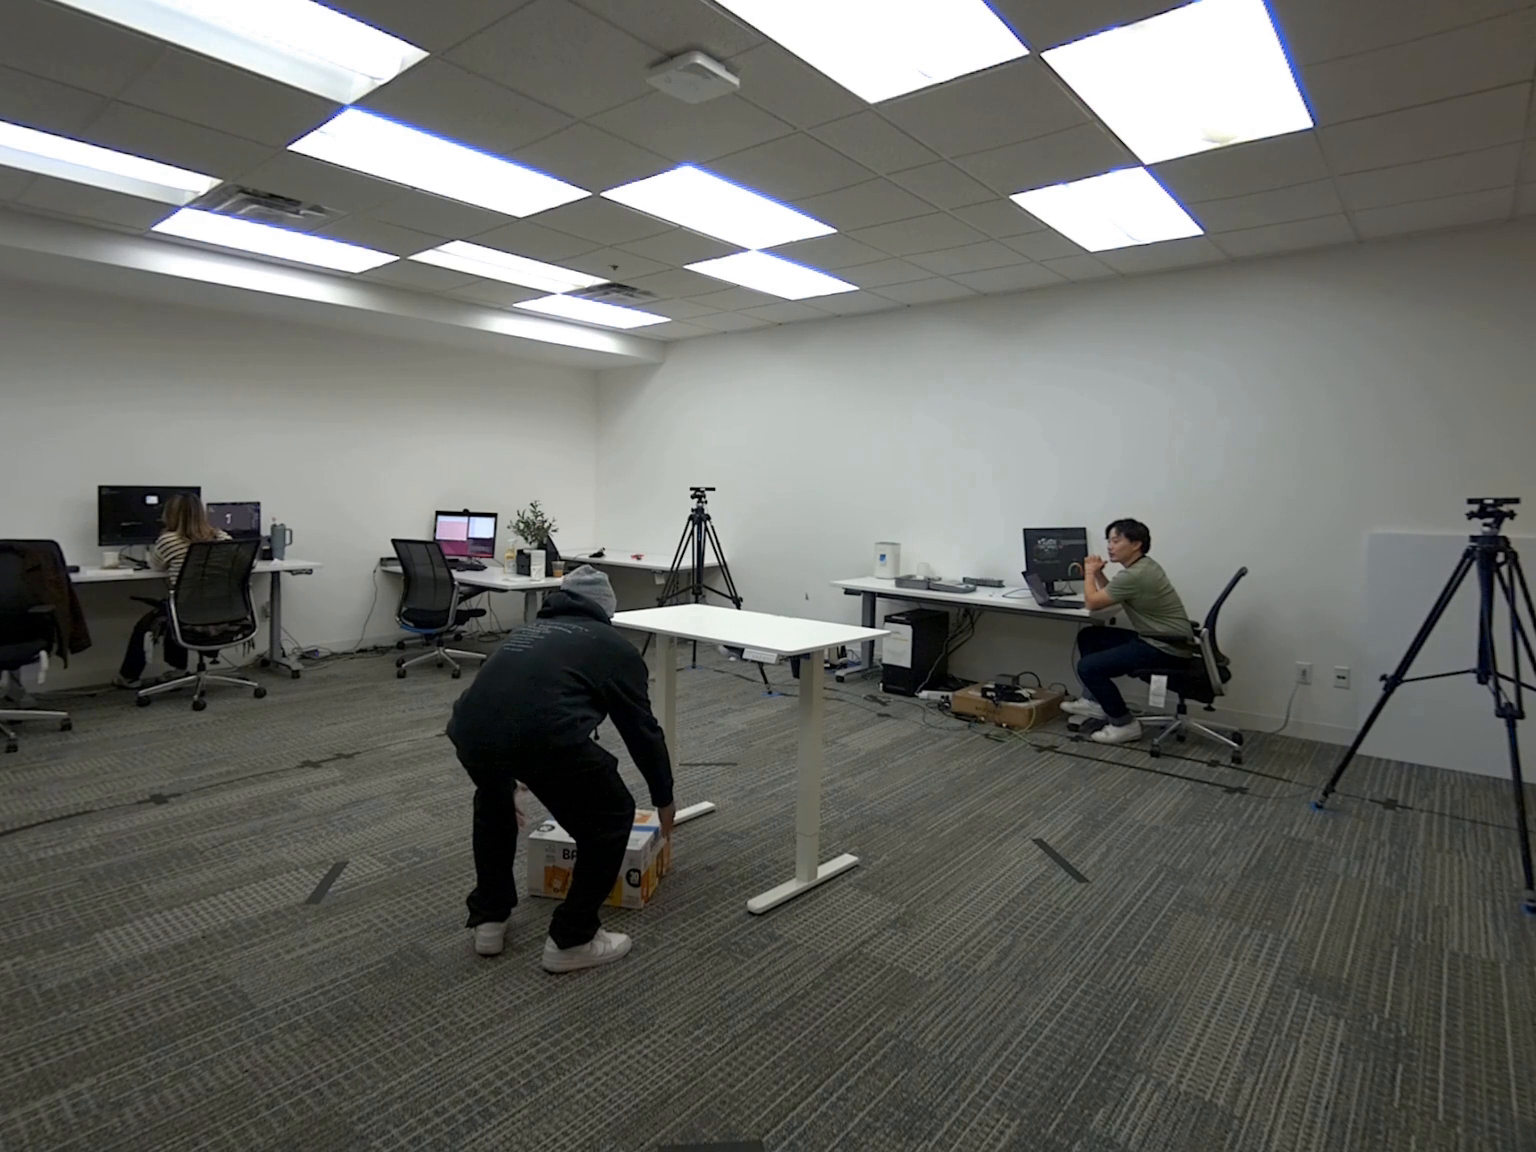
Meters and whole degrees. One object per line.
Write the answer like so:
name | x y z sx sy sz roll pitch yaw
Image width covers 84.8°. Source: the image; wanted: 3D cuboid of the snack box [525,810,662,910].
snack box | -0.597 0.973 2.986 0.411 0.205 0.337 2 4 12
